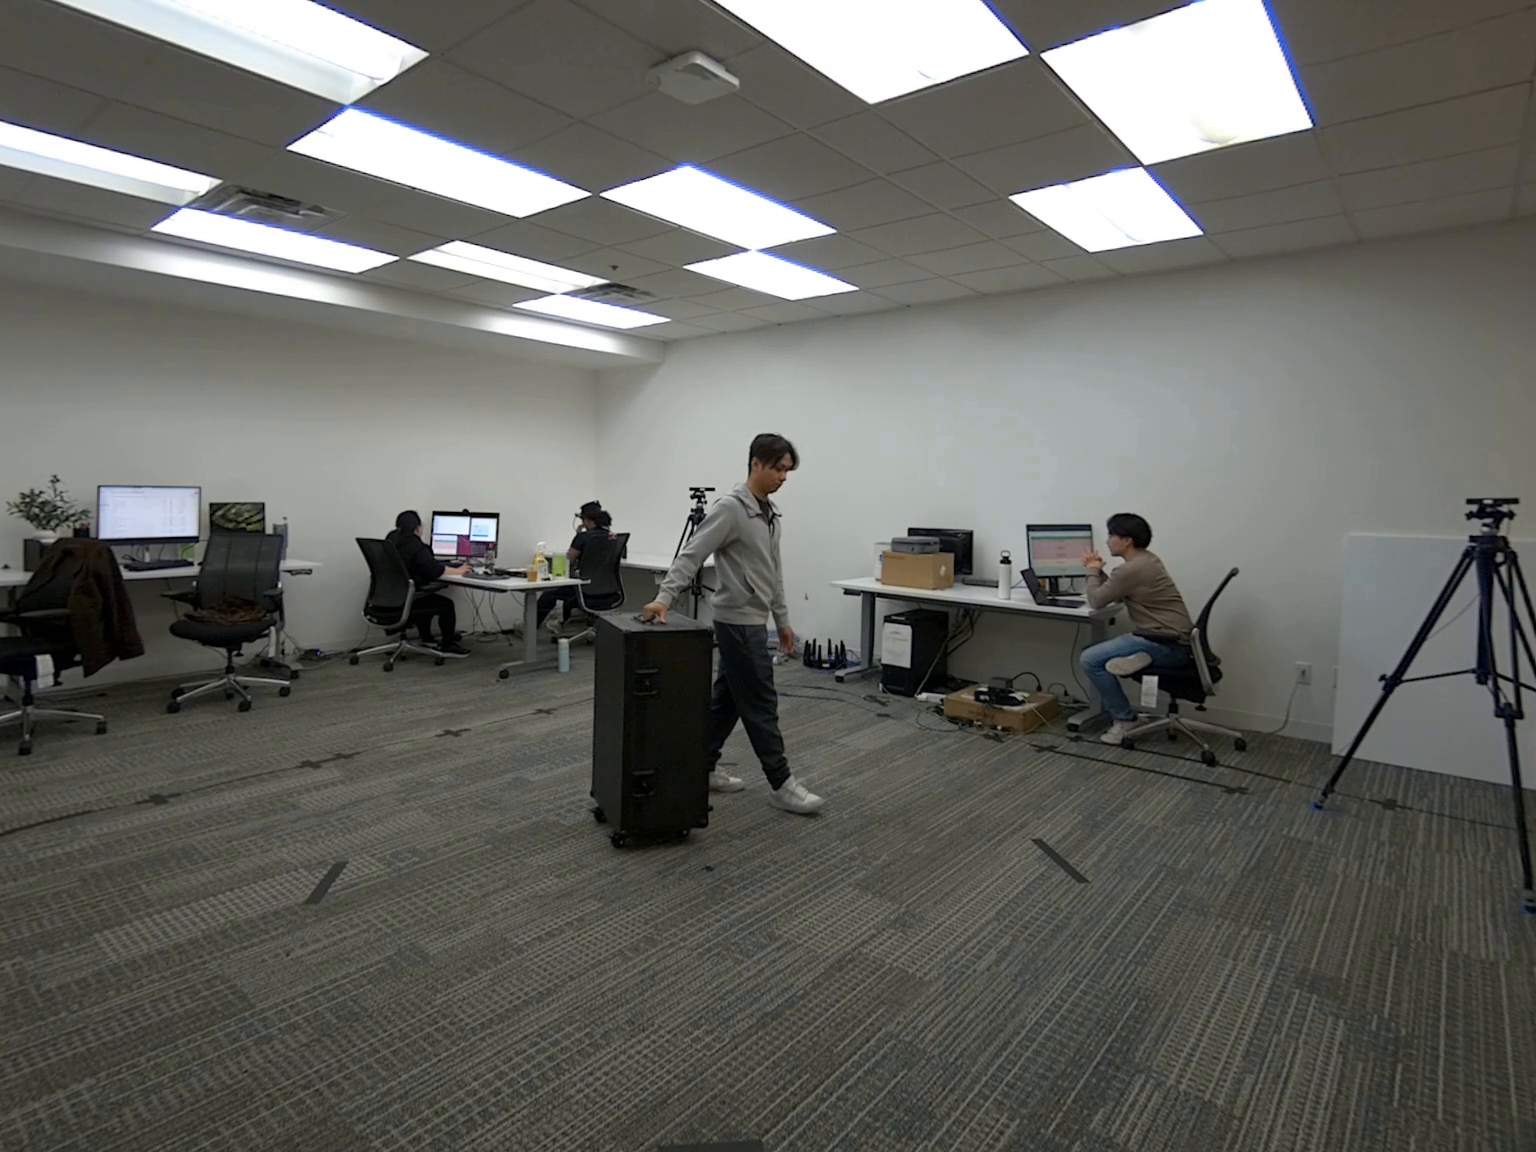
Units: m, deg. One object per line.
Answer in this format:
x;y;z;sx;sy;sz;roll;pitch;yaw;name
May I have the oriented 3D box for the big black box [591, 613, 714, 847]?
-0.491;0.600;3.464;0.387;0.860;0.535;2;3;-24;big black box
